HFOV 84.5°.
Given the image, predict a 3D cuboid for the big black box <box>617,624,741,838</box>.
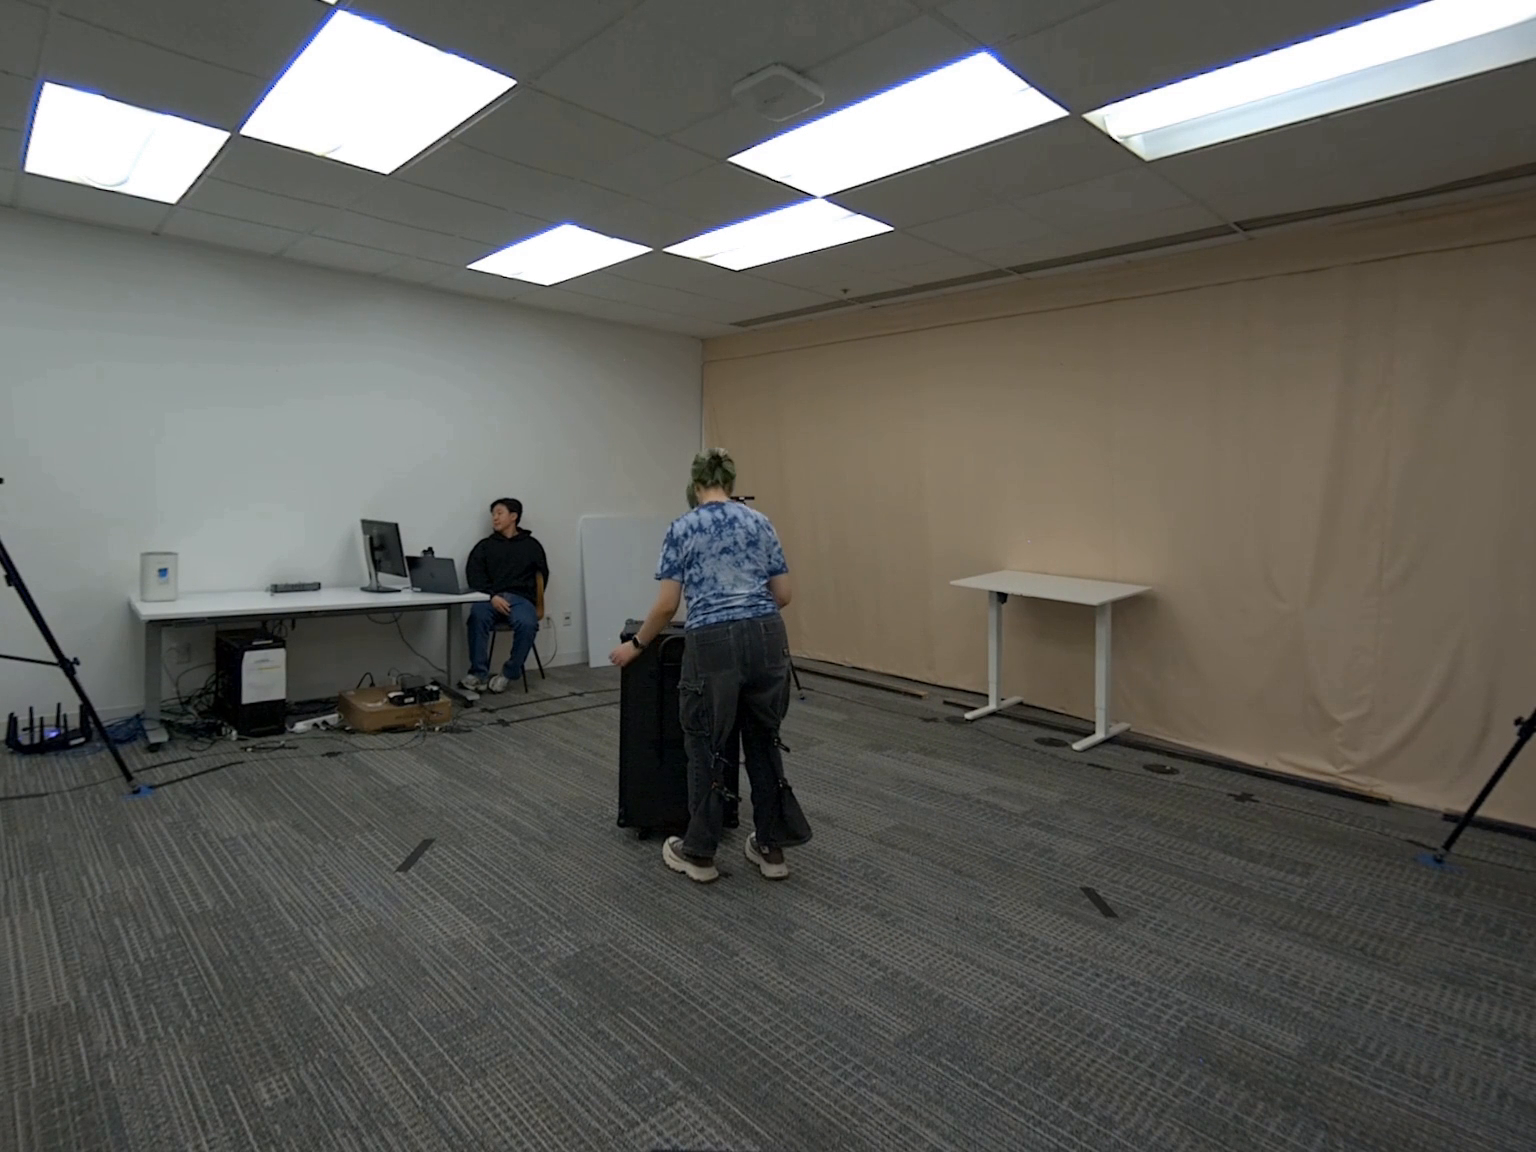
[{"bbox_3d":[-0.371,0.643,3.511,0.520,0.859,0.398,2,4,-3],"label":"big black box"}]
